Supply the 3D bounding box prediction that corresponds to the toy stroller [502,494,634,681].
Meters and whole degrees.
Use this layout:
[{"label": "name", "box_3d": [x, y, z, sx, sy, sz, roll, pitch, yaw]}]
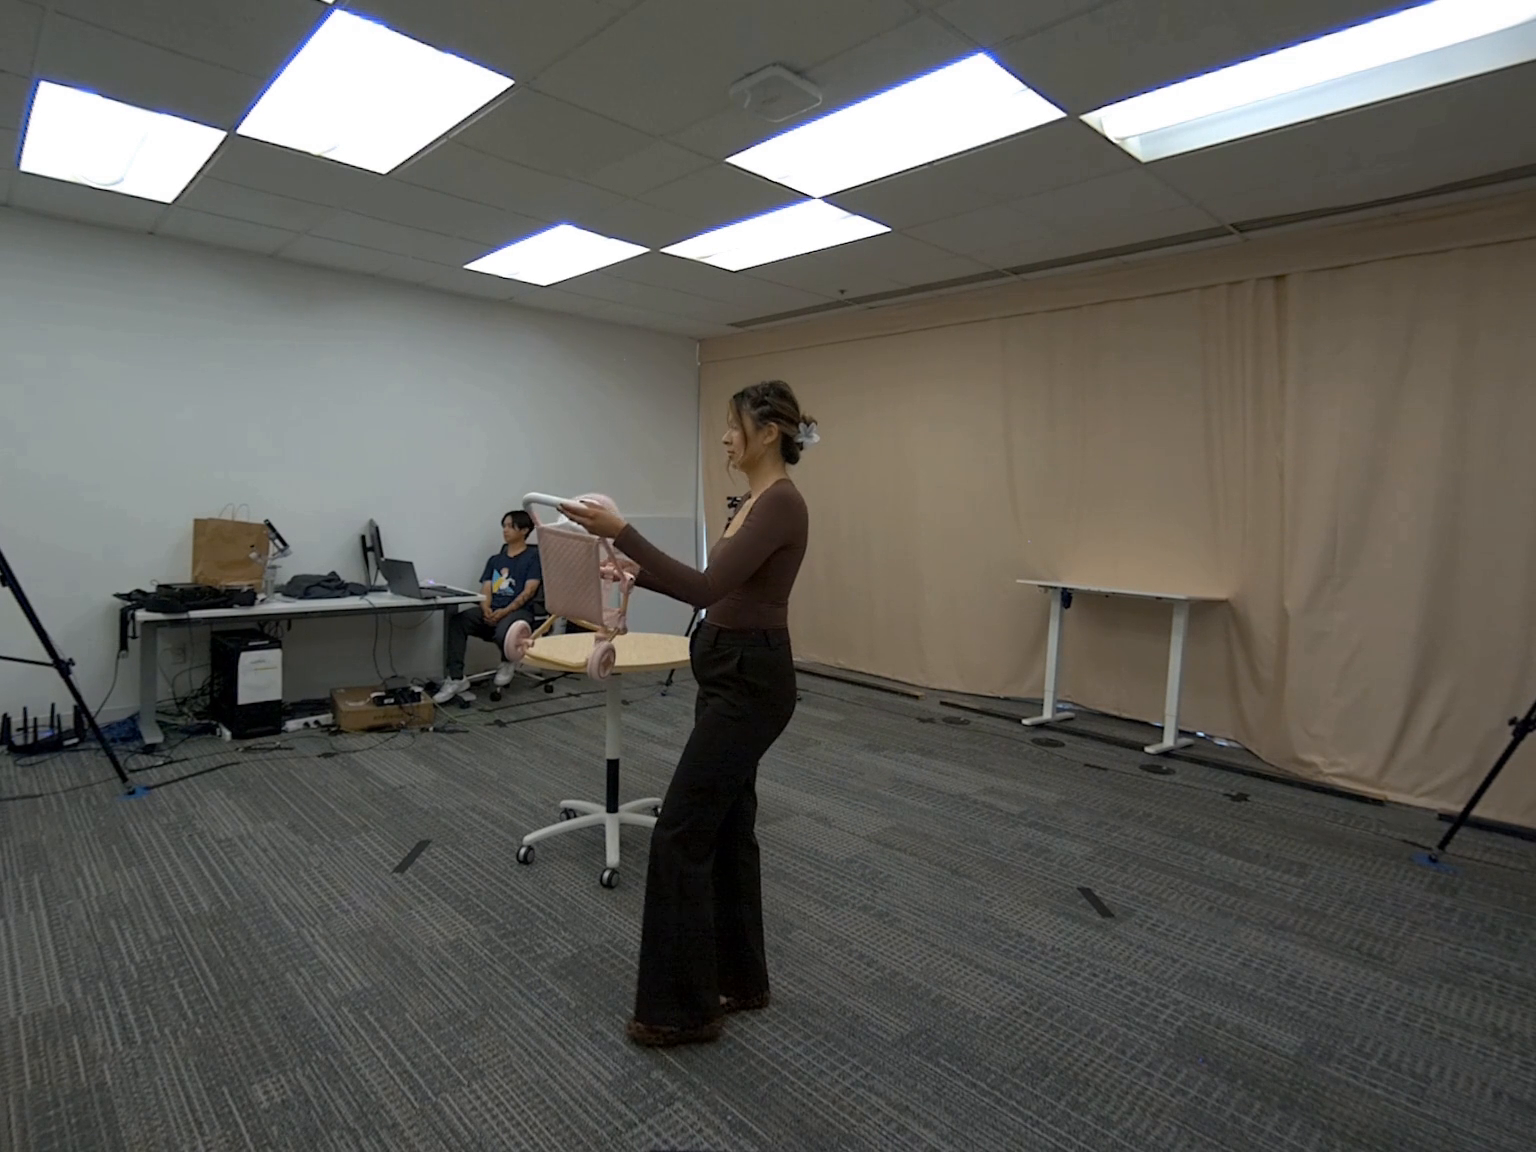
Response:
[{"label": "toy stroller", "box_3d": [-0.484, 0.023, 2.243, 0.286, 0.529, 0.339, 11, 17, 19]}]
